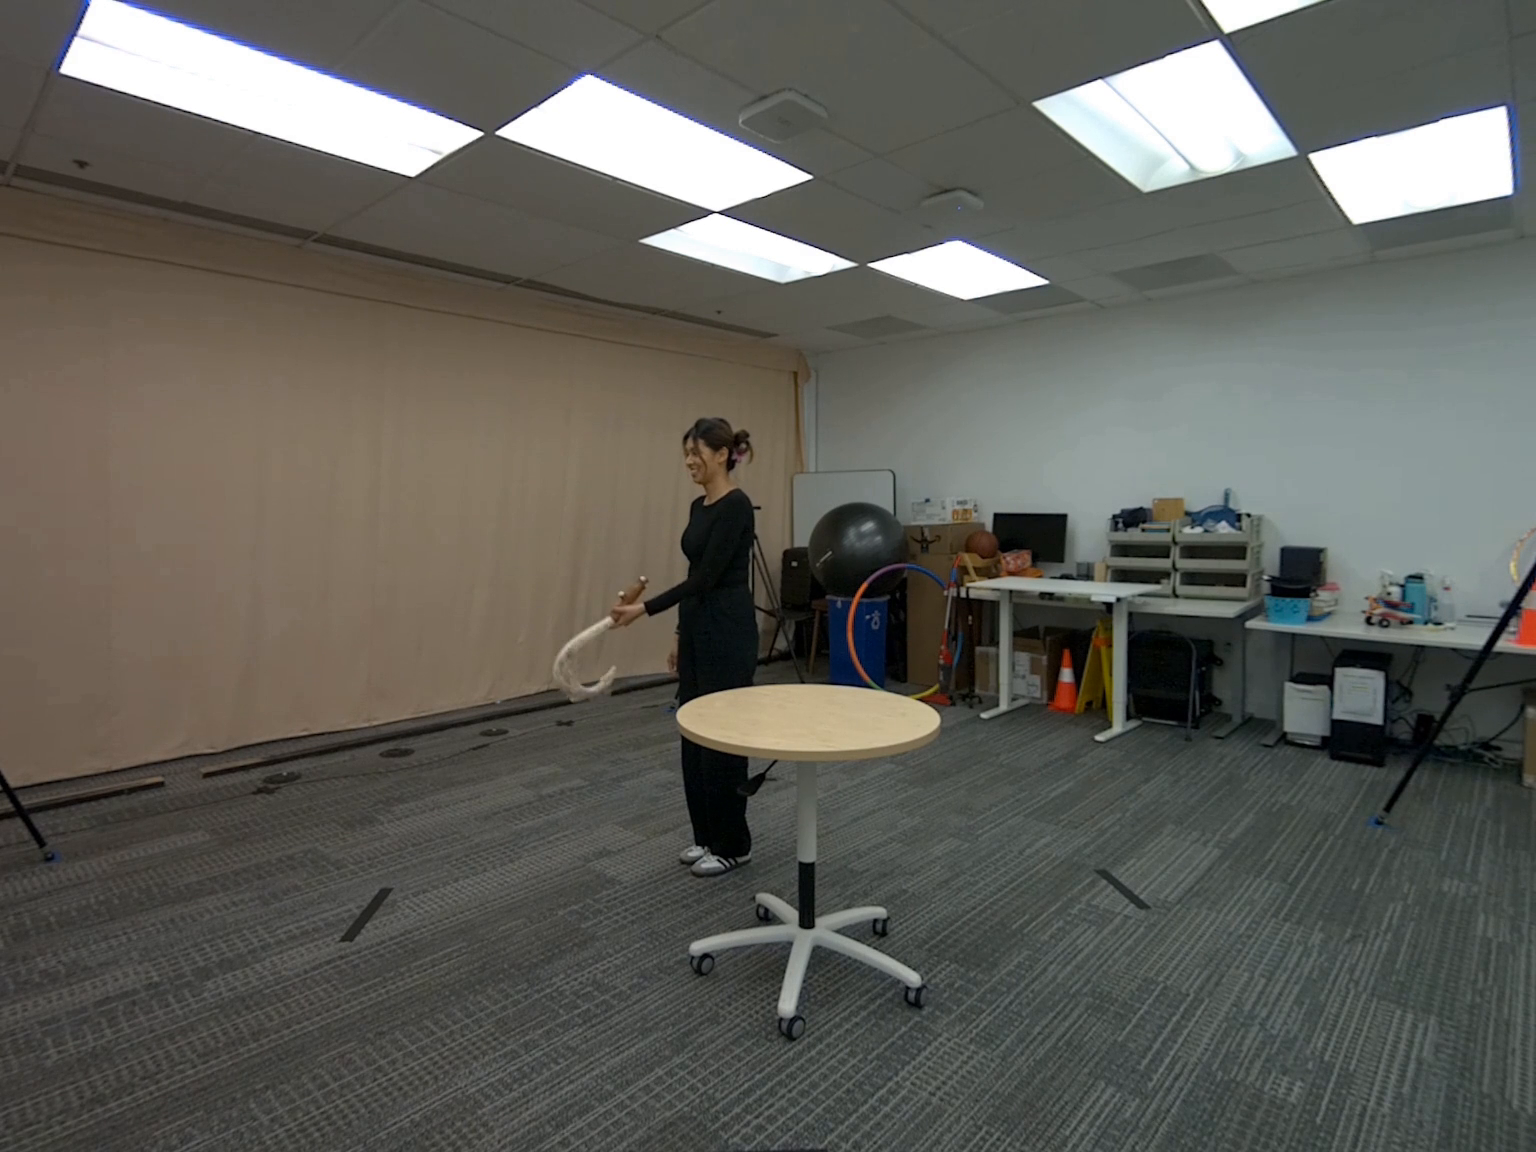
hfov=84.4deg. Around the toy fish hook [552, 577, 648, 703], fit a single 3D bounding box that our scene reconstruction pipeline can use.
[{"bbox_3d":[-0.559,0.210,3.022,0.504,0.218,0.050,-50,29,-21],"label":"toy fish hook"}]
